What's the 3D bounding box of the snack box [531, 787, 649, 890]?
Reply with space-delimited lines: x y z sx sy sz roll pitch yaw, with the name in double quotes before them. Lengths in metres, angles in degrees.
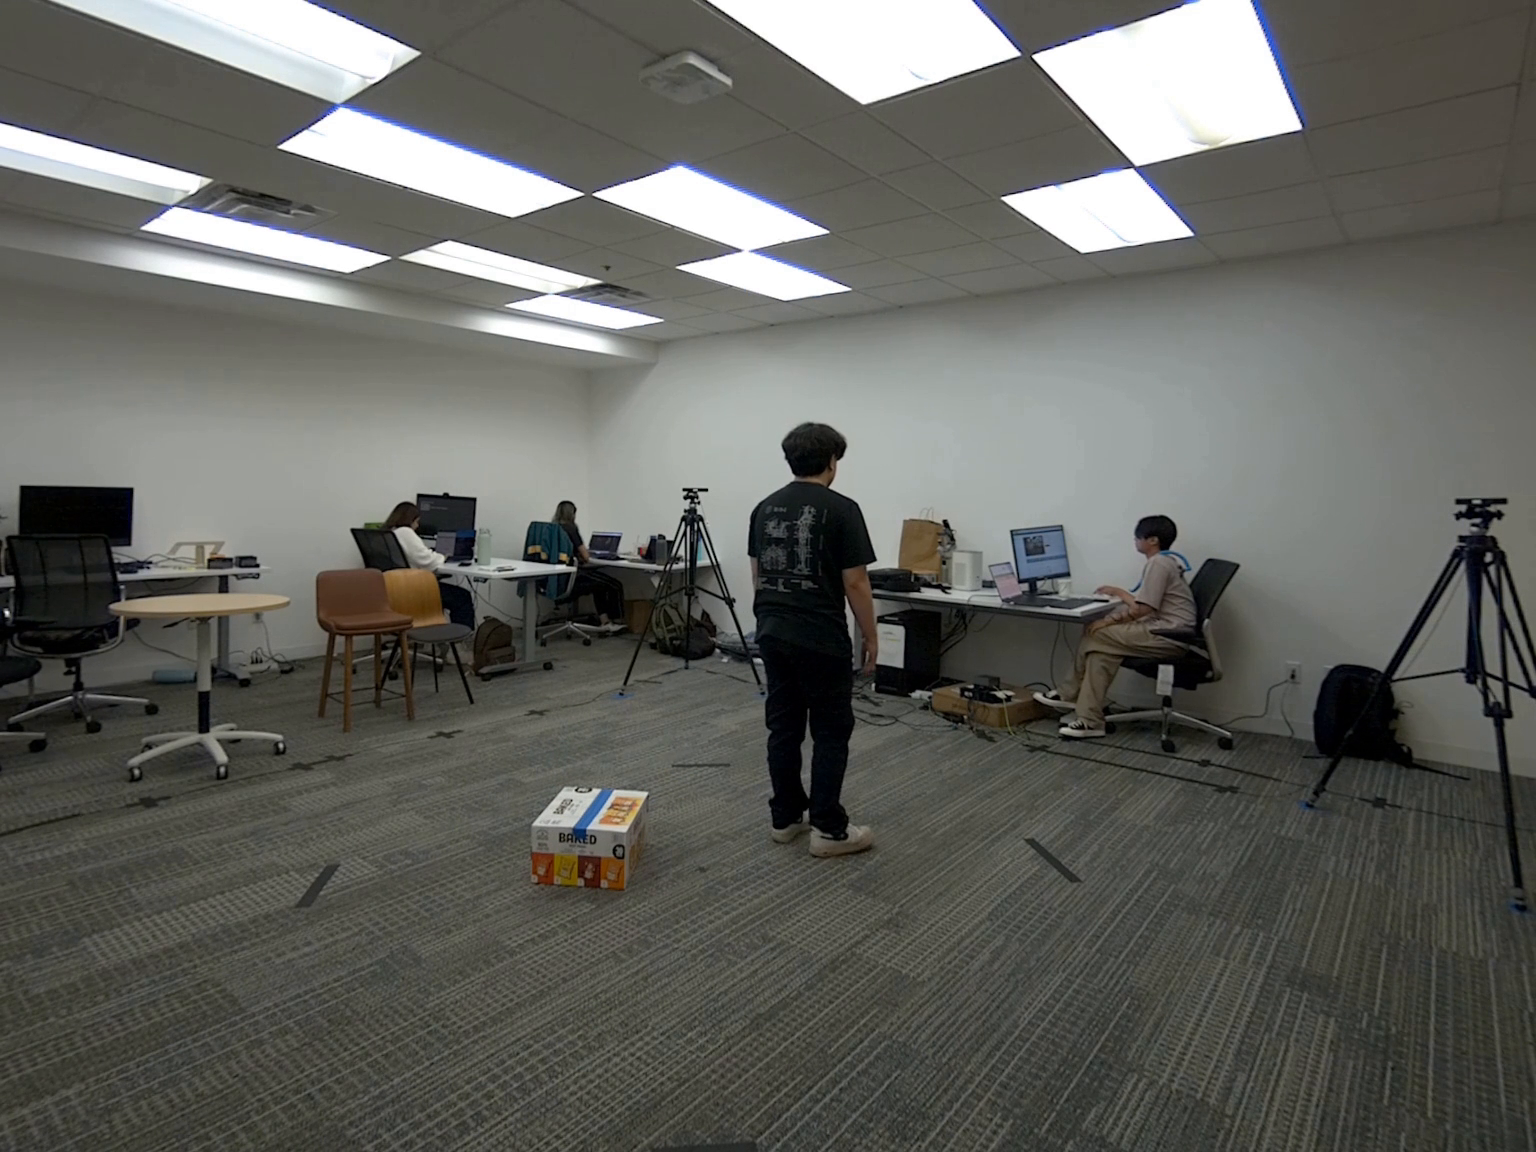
"snack box" -0.660 0.955 3.143 0.343 0.205 0.404 2 5 5
